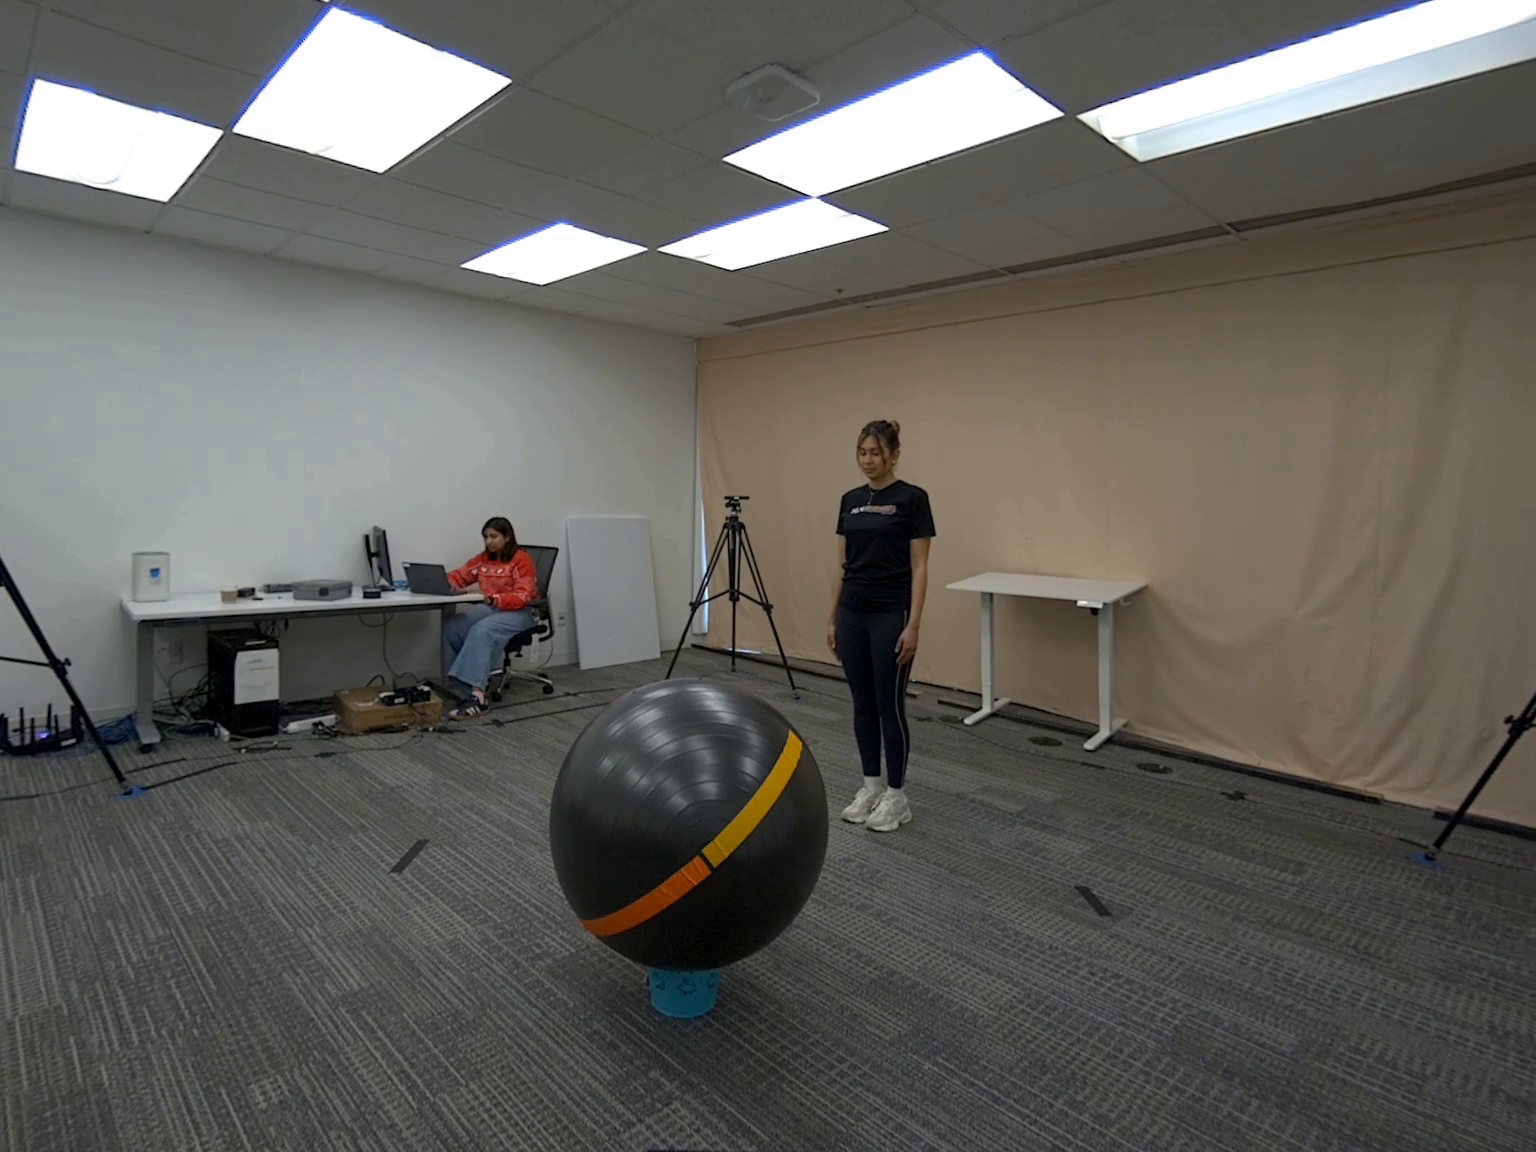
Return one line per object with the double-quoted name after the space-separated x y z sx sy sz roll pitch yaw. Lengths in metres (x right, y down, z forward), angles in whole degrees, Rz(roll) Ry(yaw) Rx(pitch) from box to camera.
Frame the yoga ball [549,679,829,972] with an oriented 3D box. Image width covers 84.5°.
-0.216 0.668 2.300 0.757 0.756 0.761 1 4 -1 "yoga ball"
